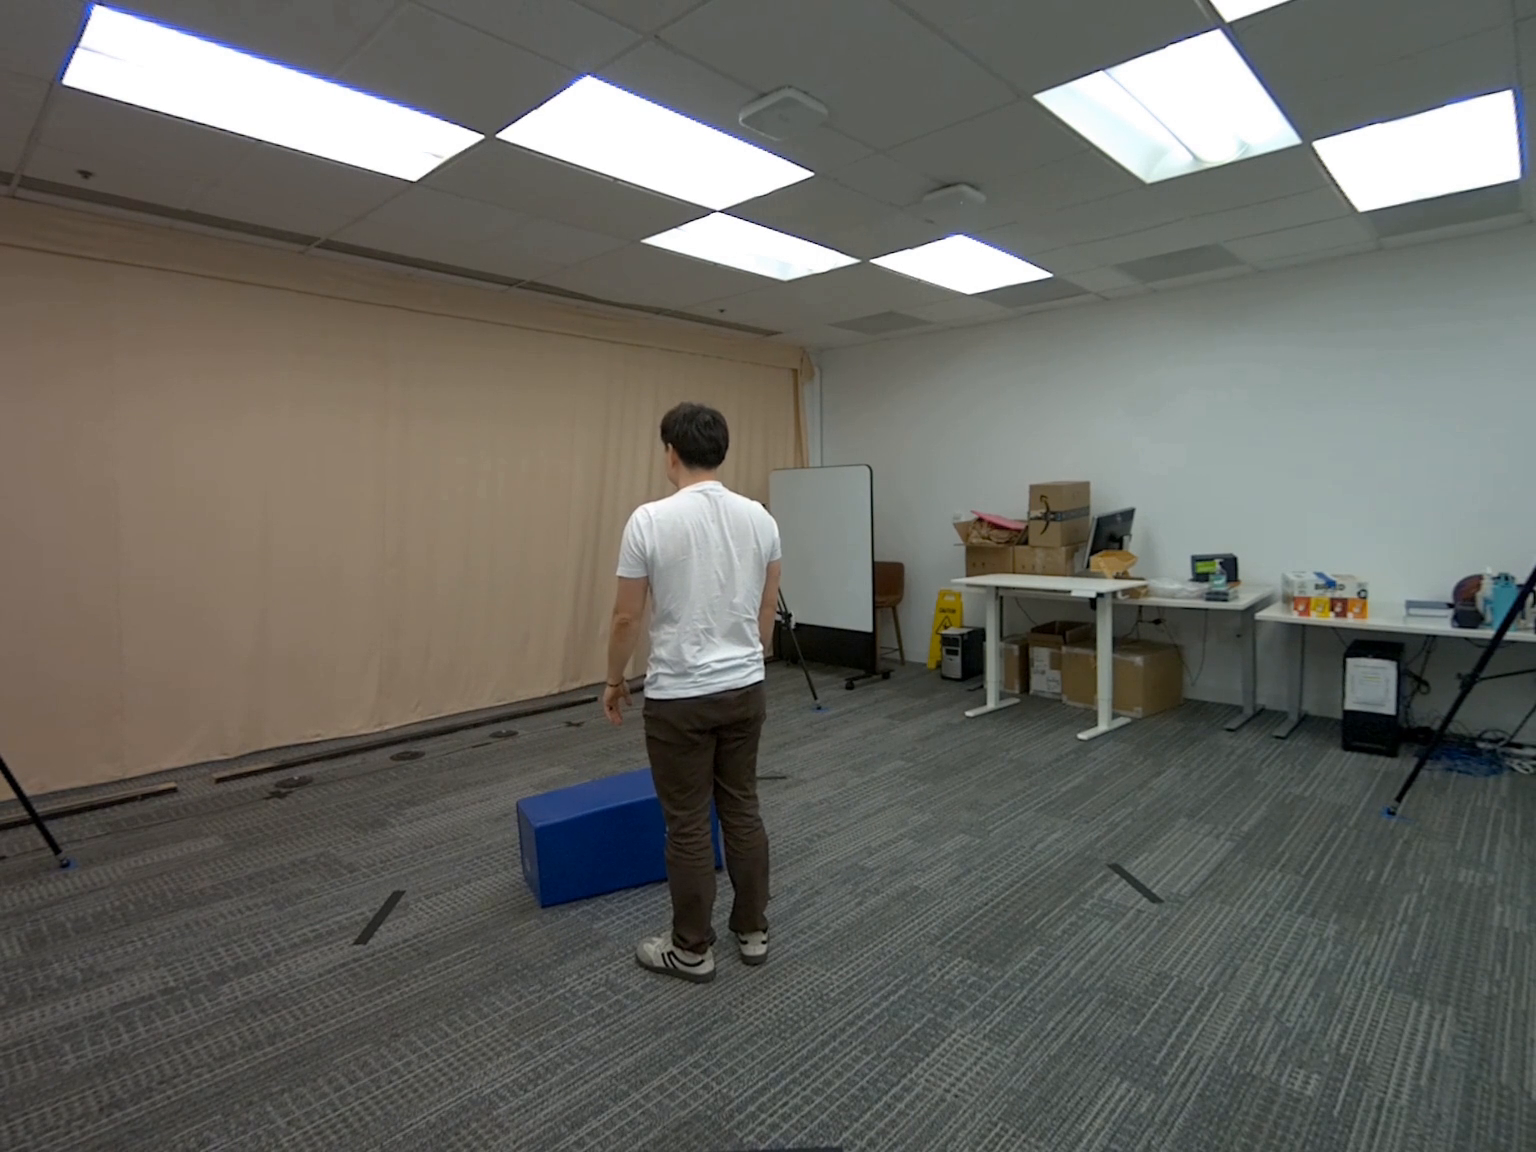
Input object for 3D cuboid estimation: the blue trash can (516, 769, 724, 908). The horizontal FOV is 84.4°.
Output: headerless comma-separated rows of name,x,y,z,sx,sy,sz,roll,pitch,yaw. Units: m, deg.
blue trash can,-0.559,0.970,3.199,0.697,0.376,0.384,-6,7,-27
